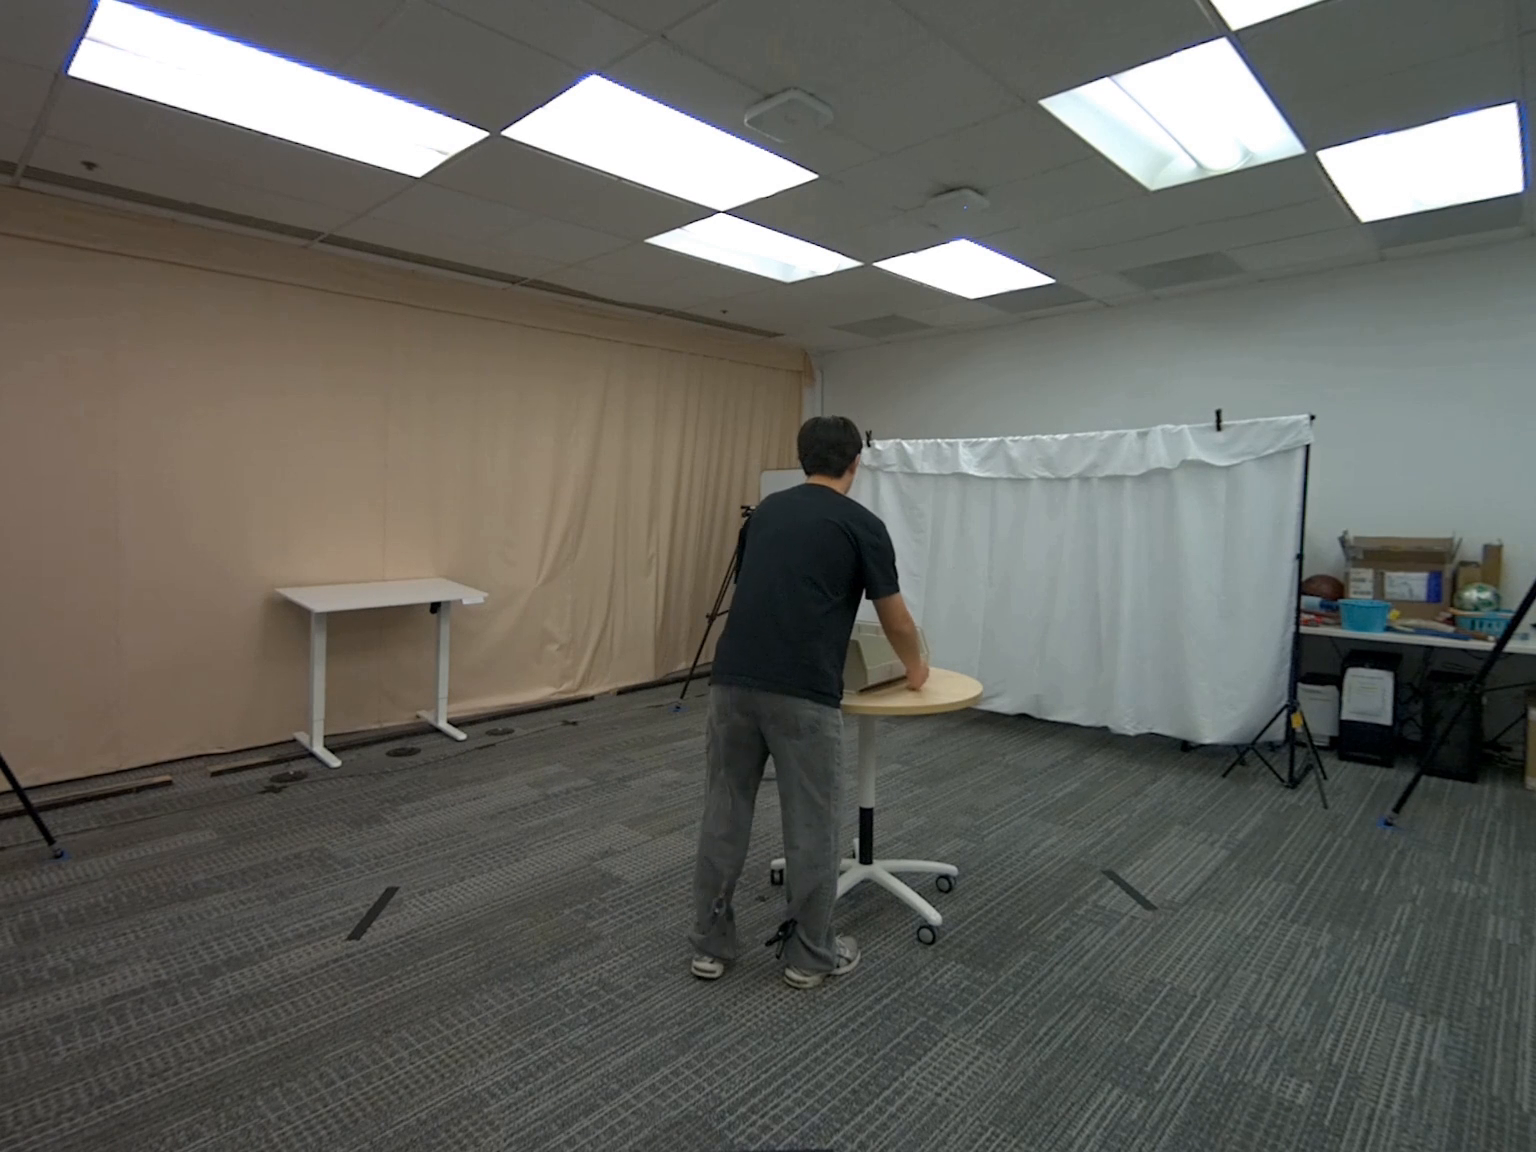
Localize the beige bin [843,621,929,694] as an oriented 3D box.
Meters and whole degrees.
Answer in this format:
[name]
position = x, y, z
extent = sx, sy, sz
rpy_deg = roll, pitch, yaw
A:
[beige bin]
position = 0.302, 0.273, 2.941
extent = 0.390, 0.188, 0.410
rpy_deg = 3, 5, 40
